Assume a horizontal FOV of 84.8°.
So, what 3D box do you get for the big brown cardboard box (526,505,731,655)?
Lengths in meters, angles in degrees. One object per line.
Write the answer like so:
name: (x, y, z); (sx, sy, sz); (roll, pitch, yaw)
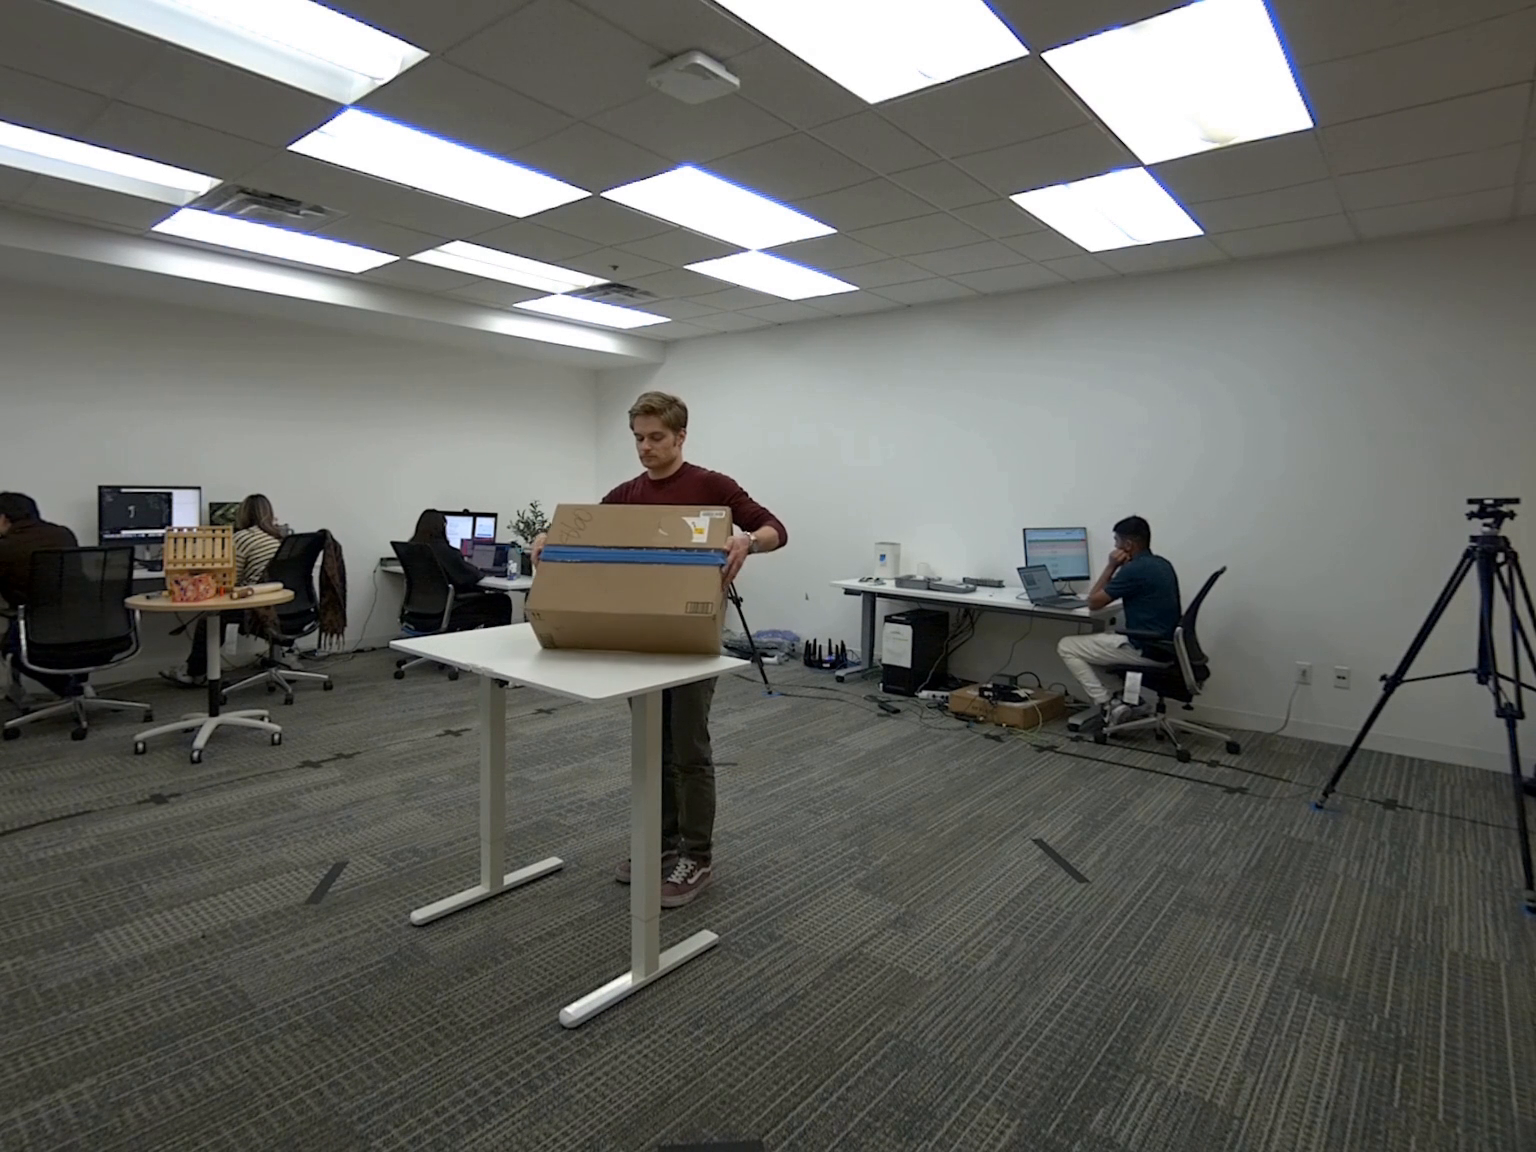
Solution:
big brown cardboard box: (-0.416, 0.002, 2.650); (0.594, 0.428, 0.225); (0, -39, 8)
